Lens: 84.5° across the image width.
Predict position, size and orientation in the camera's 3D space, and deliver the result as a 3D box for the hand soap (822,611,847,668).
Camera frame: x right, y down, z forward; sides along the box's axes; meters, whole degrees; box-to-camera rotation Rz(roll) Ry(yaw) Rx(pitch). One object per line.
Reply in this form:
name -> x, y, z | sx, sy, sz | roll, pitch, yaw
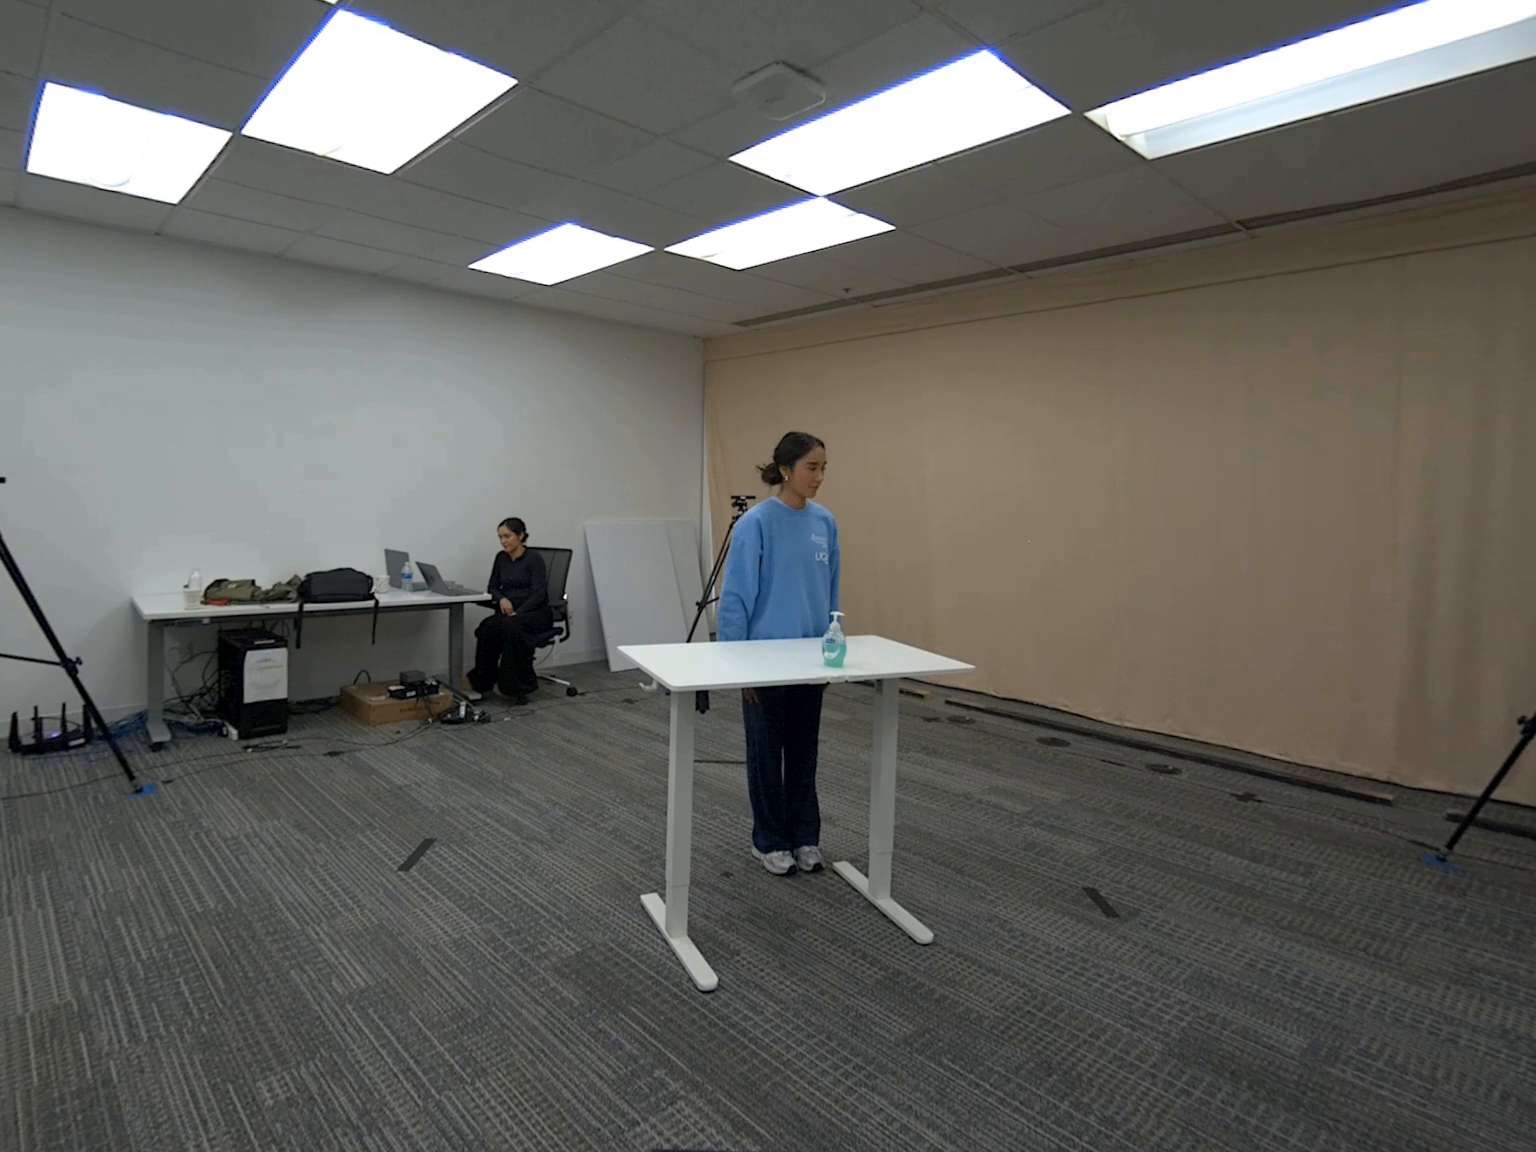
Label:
hand soap -> 0.199, 0.196, 2.575 | 0.042, 0.168, 0.087 | -1, 5, -43
